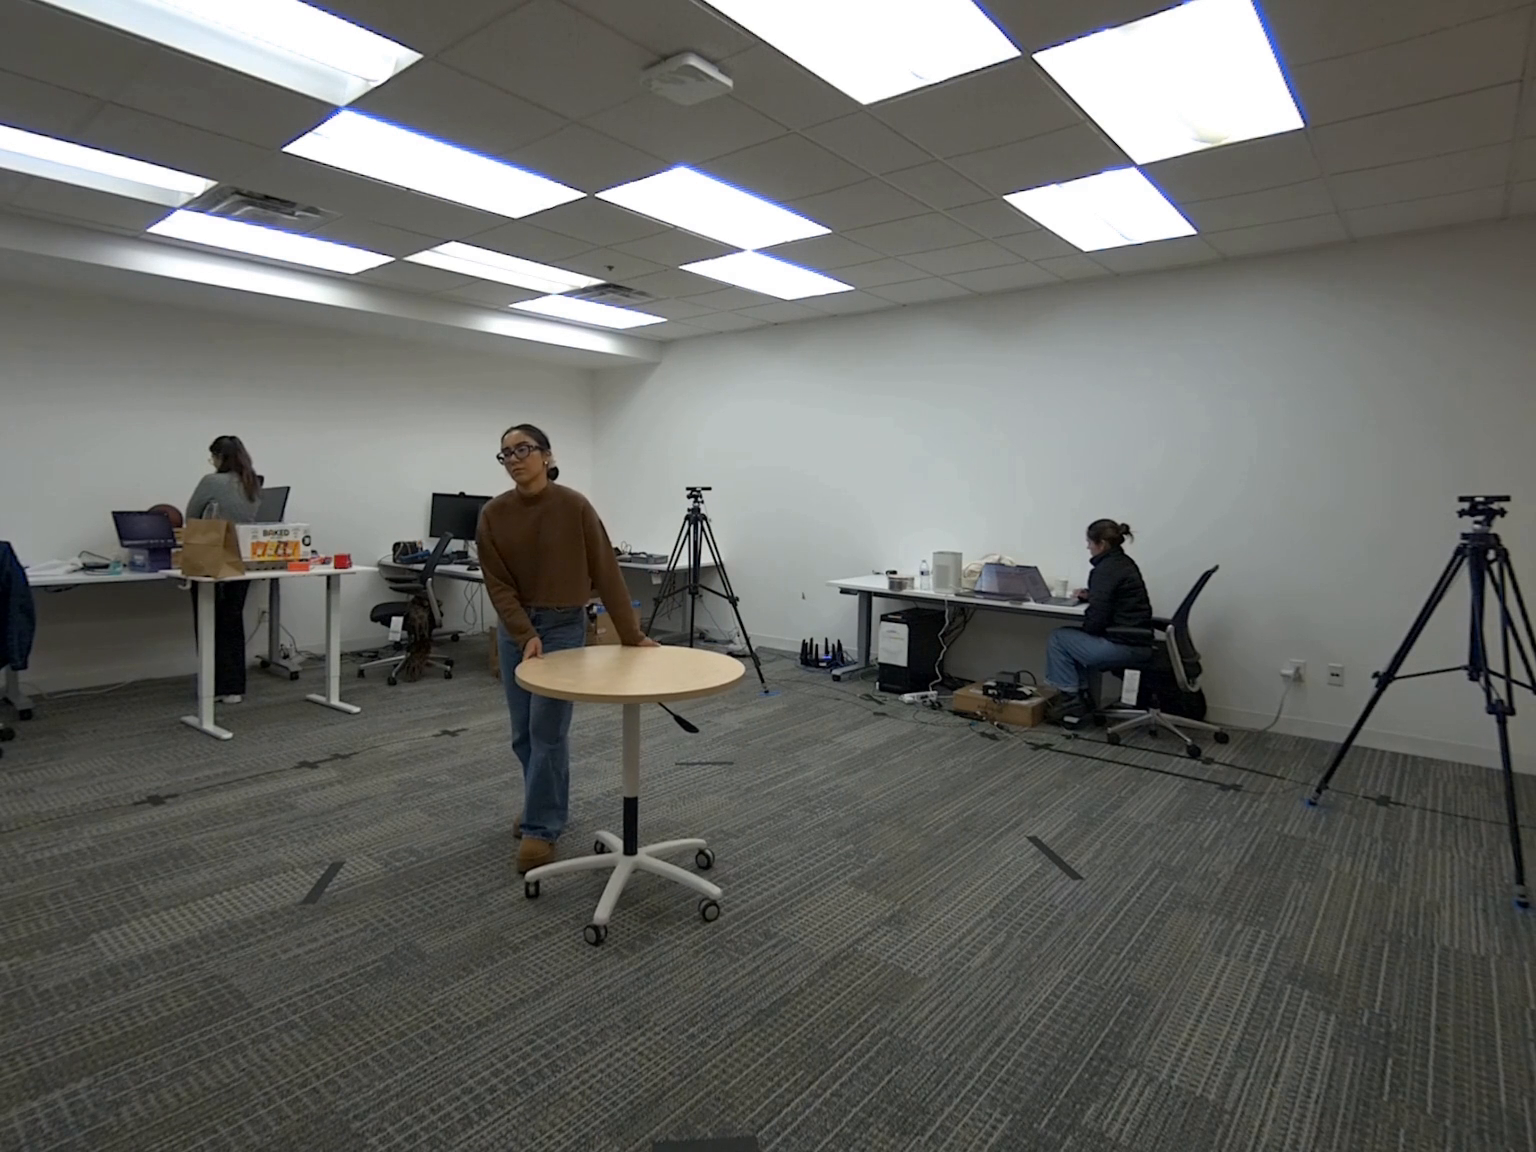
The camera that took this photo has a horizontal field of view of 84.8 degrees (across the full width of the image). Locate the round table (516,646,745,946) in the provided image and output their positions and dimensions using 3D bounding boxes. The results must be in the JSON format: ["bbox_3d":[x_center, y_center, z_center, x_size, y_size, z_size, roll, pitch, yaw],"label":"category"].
[{"bbox_3d":[-0.461,0.691,2.874,0.784,0.783,0.789,1,5,-2],"label":"round table"}]
